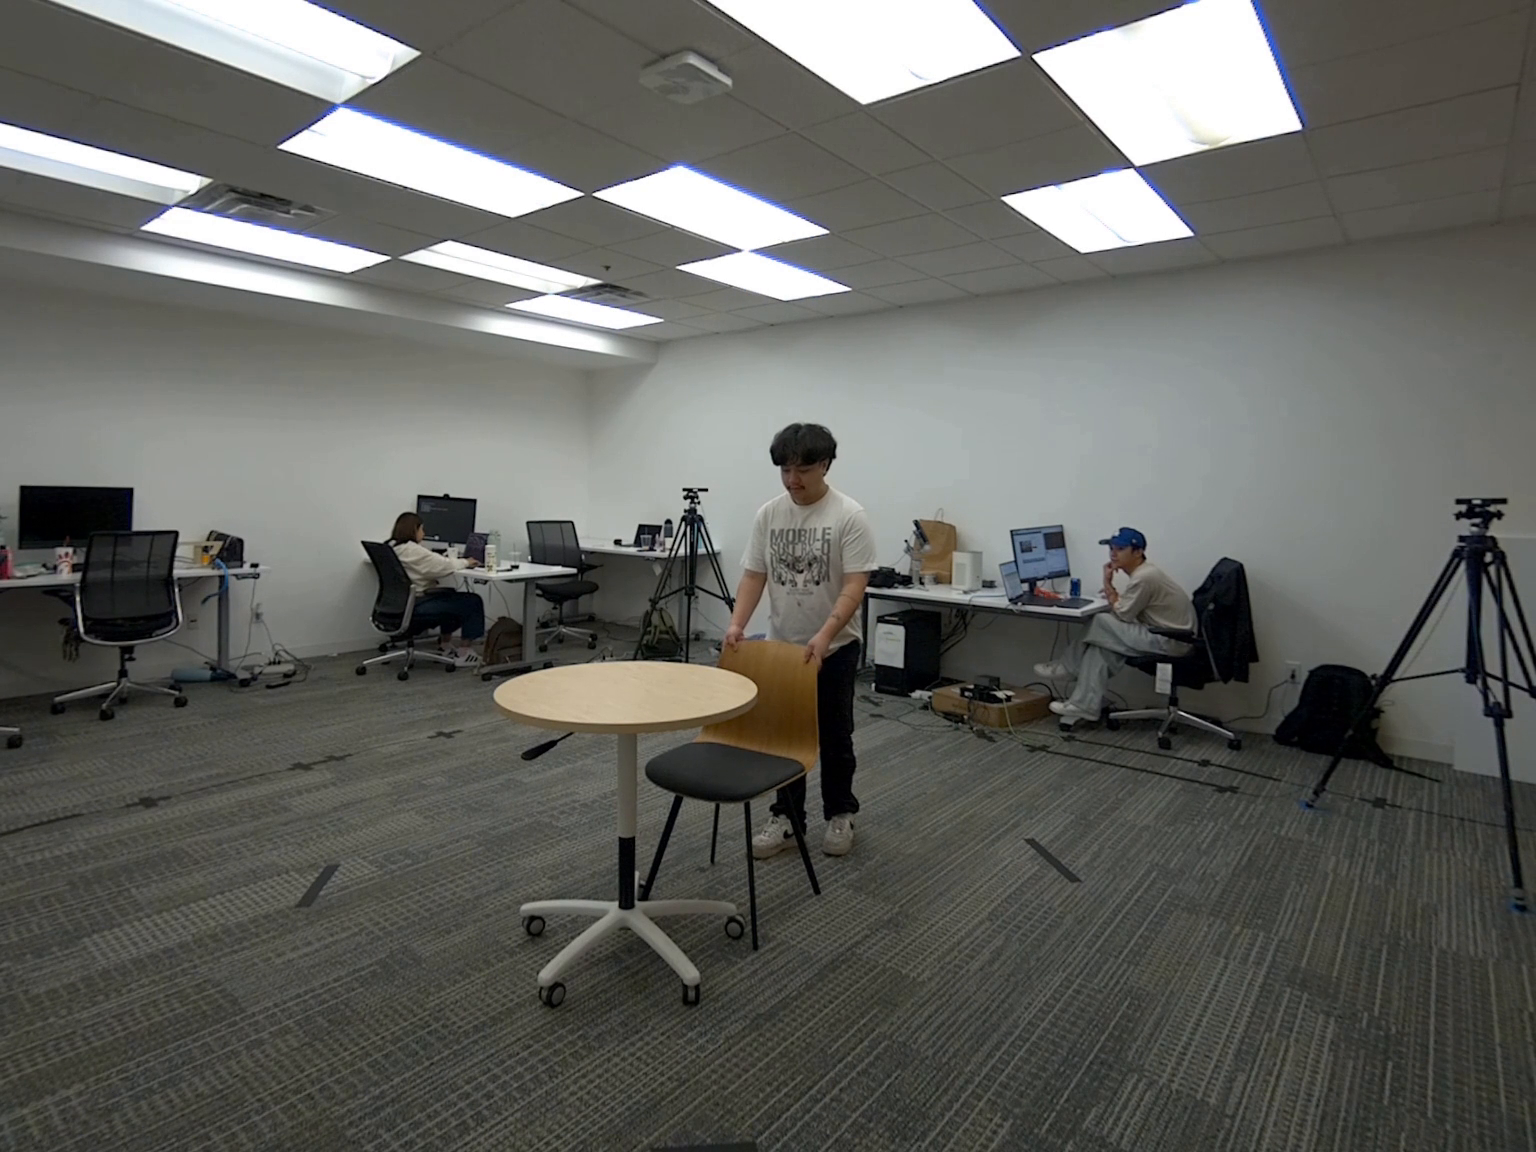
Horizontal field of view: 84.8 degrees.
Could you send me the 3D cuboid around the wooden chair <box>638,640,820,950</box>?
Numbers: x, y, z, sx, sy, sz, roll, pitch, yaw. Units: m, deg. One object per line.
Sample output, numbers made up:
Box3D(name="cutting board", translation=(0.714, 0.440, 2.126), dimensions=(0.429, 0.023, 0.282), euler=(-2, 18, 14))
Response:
Box3D(name="wooden chair", translation=(-0.125, 0.669, 2.837), dimensions=(0.493, 0.878, 0.507), euler=(4, 0, 31))
